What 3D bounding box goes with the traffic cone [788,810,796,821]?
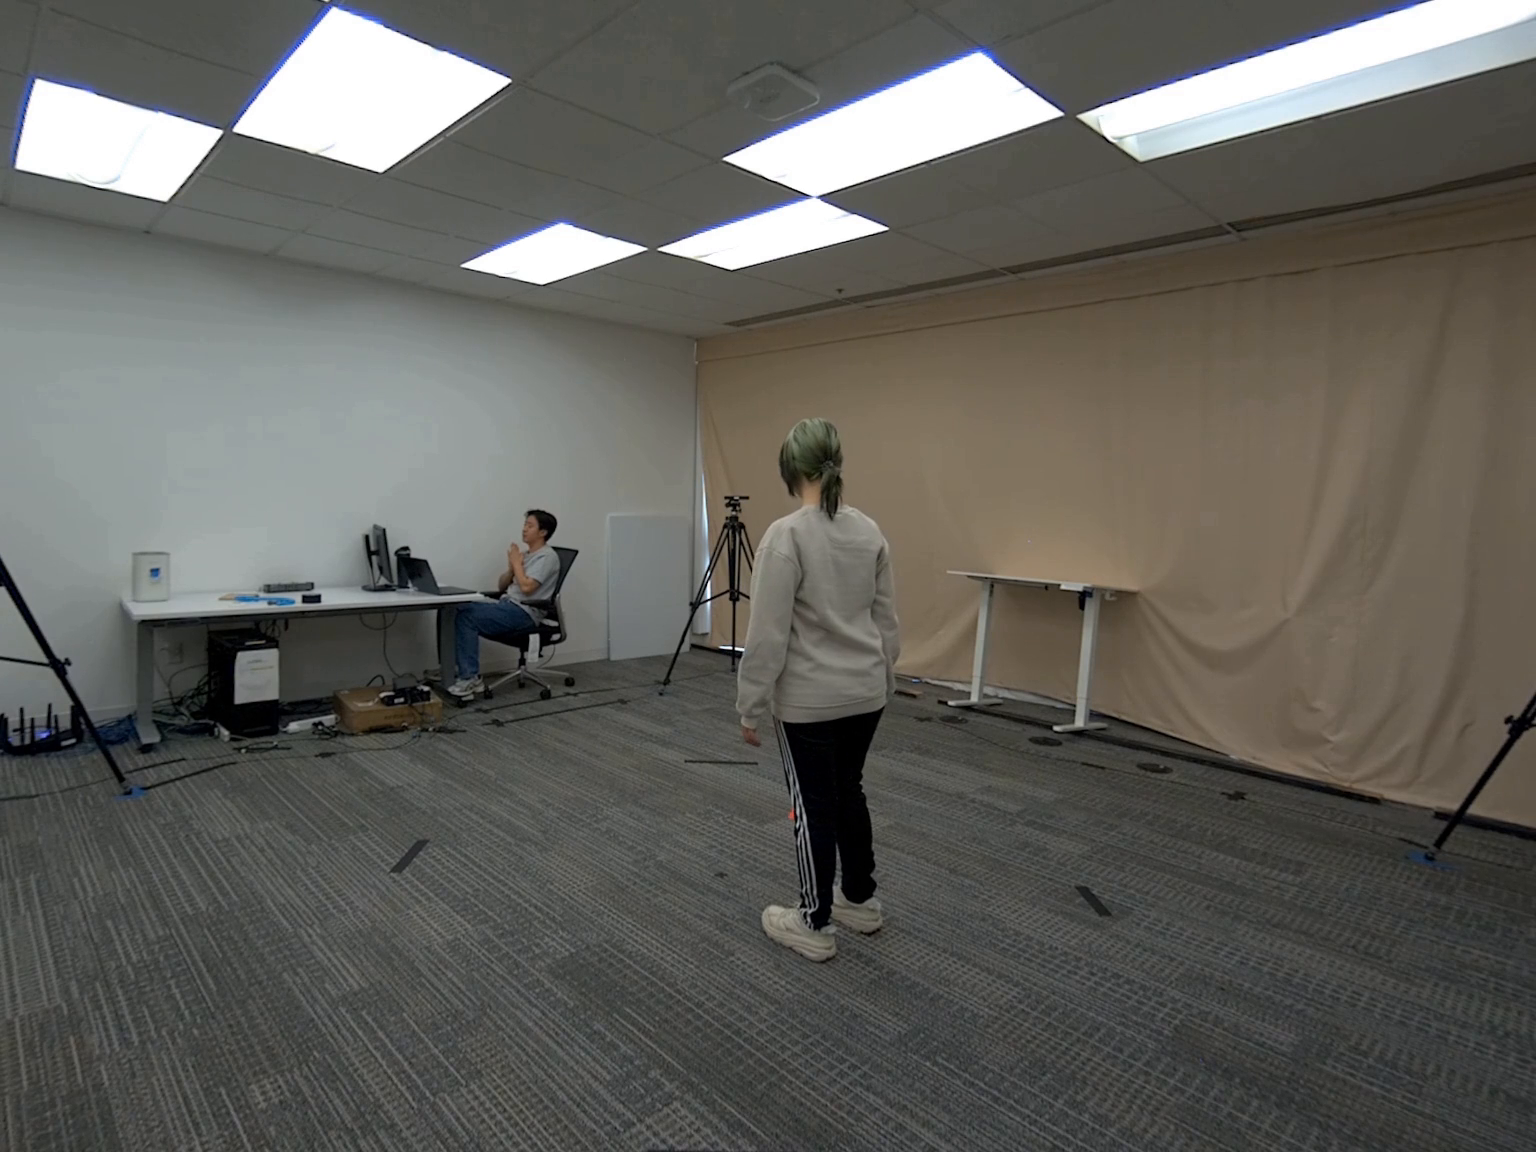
[{"bbox_3d":[0.203,0.872,3.760,0.206,0.383,0.203,2,2,14],"label":"traffic cone"}]
